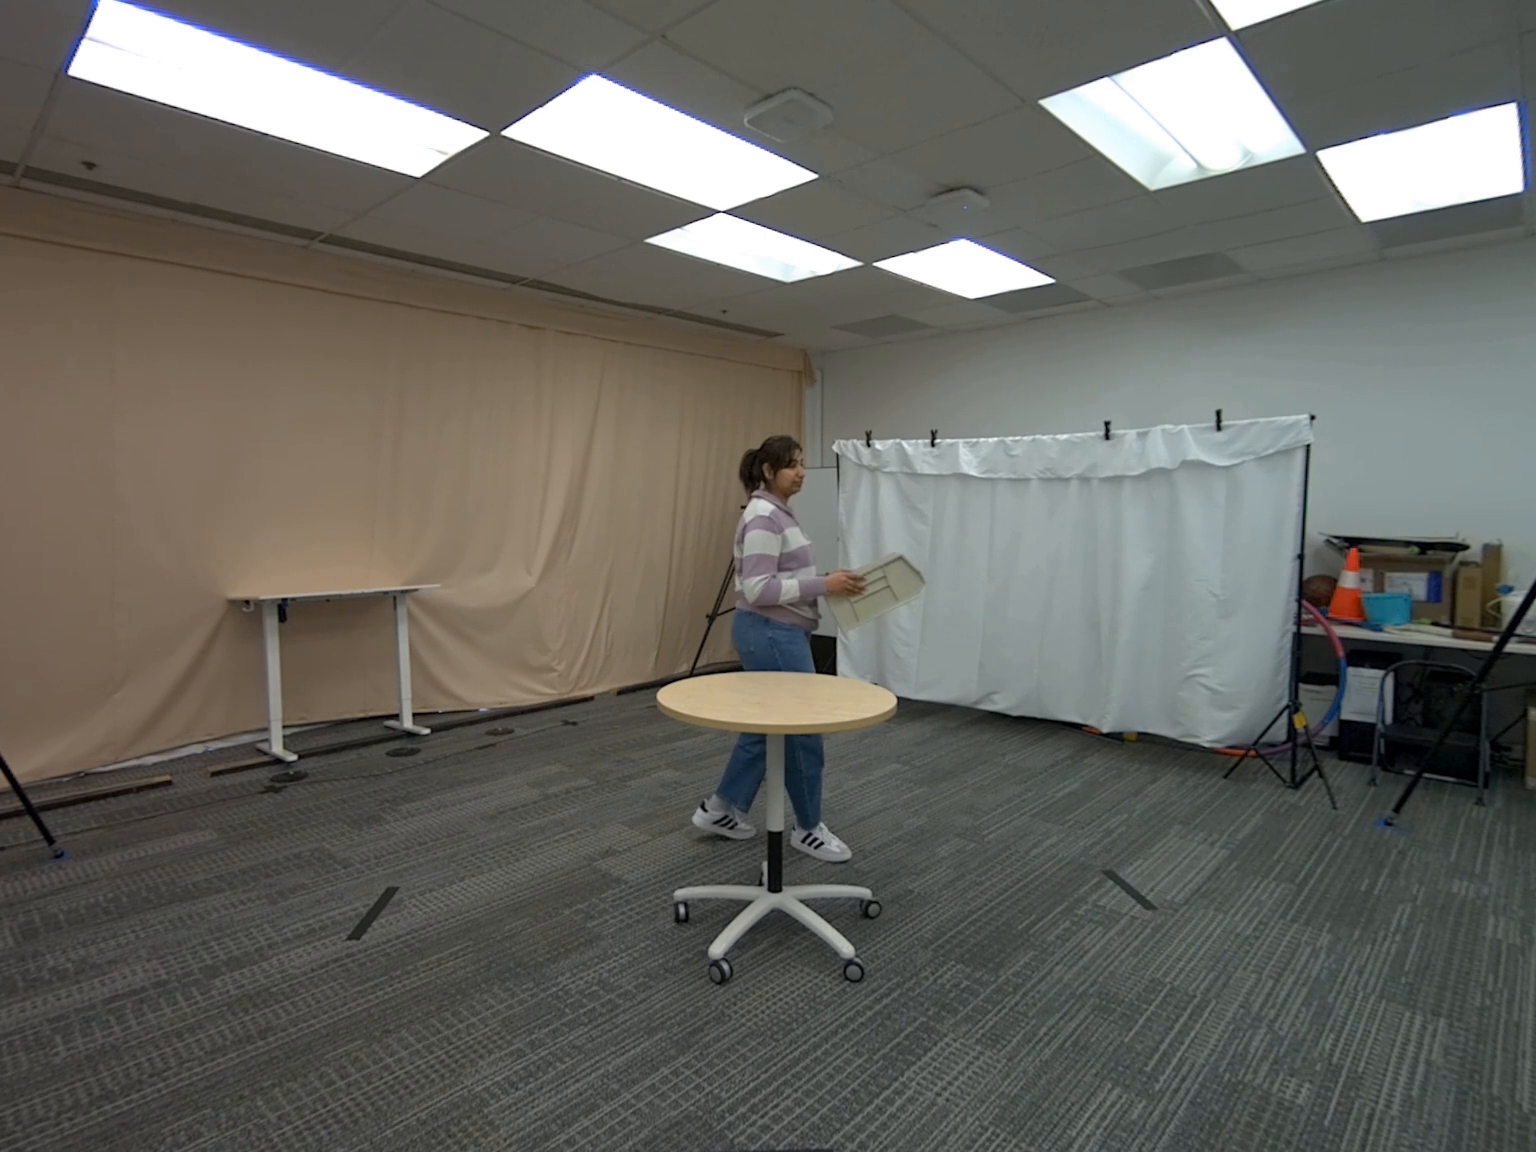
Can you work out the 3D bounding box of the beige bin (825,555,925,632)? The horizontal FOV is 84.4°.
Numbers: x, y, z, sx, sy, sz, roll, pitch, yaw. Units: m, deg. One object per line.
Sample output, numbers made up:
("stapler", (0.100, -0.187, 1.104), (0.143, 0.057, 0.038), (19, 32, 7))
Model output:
("beige bin", (0.422, 0.056, 3.365), (0.379, 0.189, 0.419), (-28, -1, 6))
